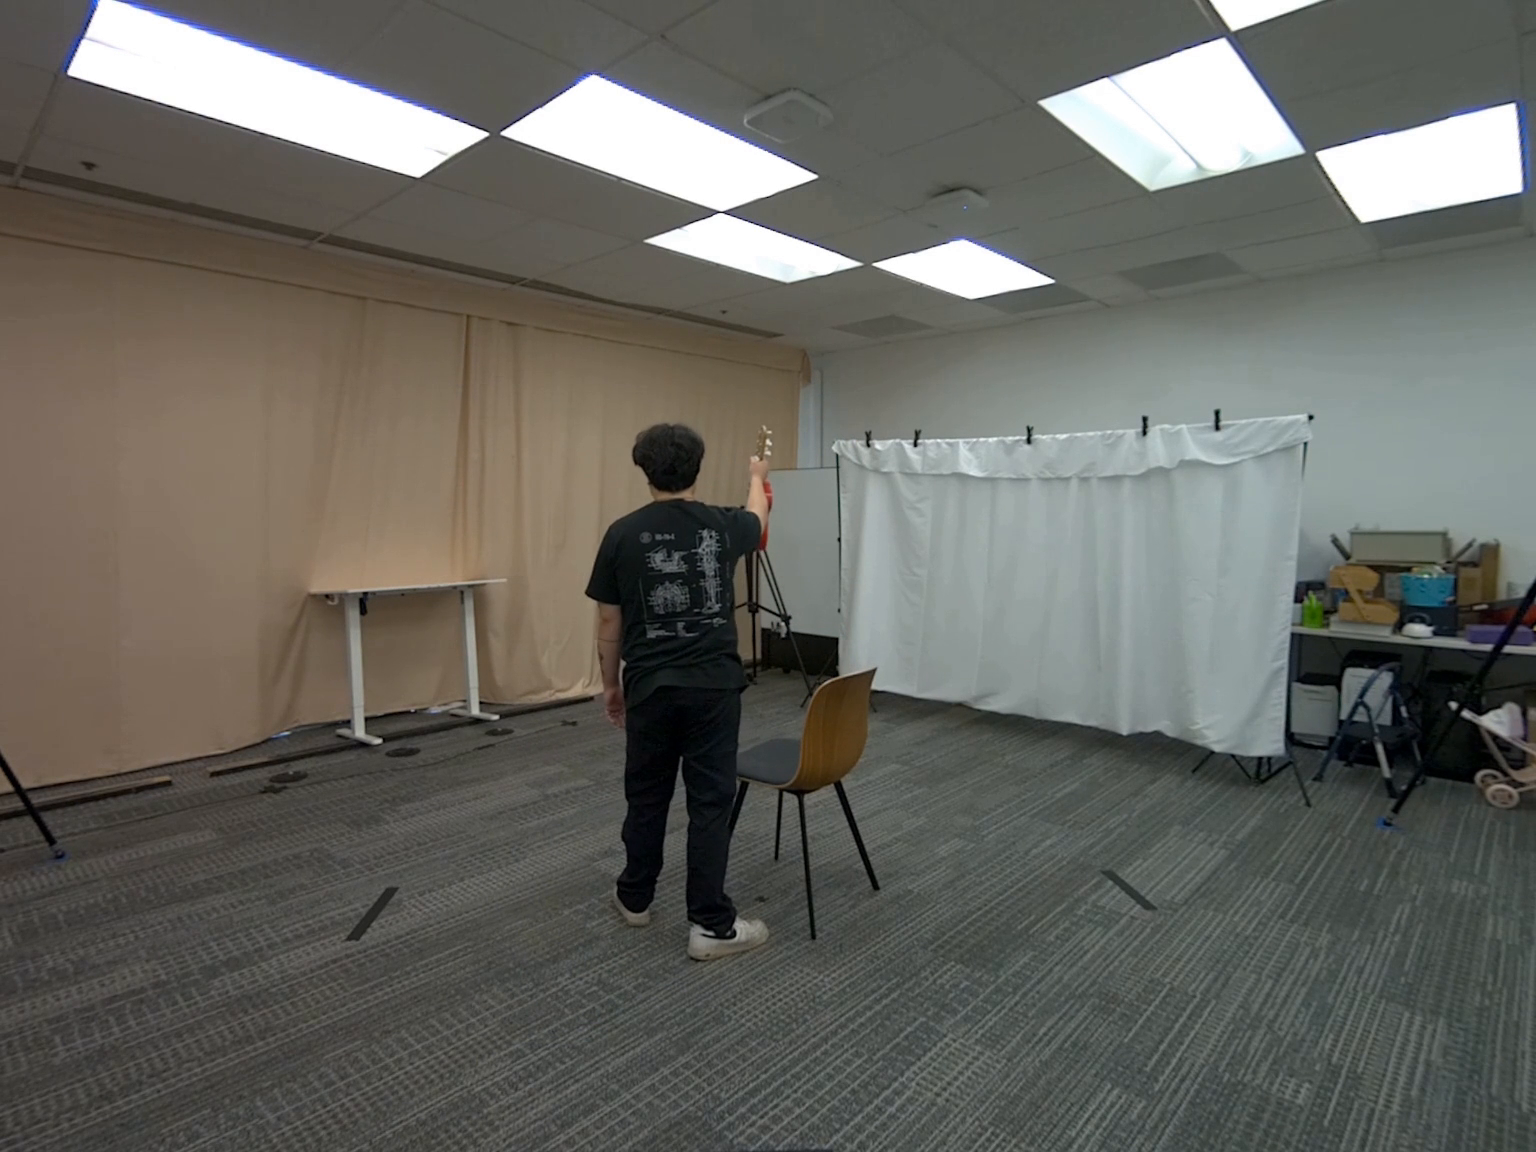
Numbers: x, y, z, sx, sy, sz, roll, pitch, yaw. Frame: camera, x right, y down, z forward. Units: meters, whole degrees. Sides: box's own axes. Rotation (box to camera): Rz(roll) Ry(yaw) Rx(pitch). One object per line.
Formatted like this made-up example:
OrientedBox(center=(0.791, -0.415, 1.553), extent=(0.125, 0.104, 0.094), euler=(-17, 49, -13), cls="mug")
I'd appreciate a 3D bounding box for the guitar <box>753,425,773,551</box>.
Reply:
OrientedBox(center=(-0.030, -0.324, 3.231), extent=(0.070, 0.491, 0.198), euler=(2, 38, -12), cls="guitar")
